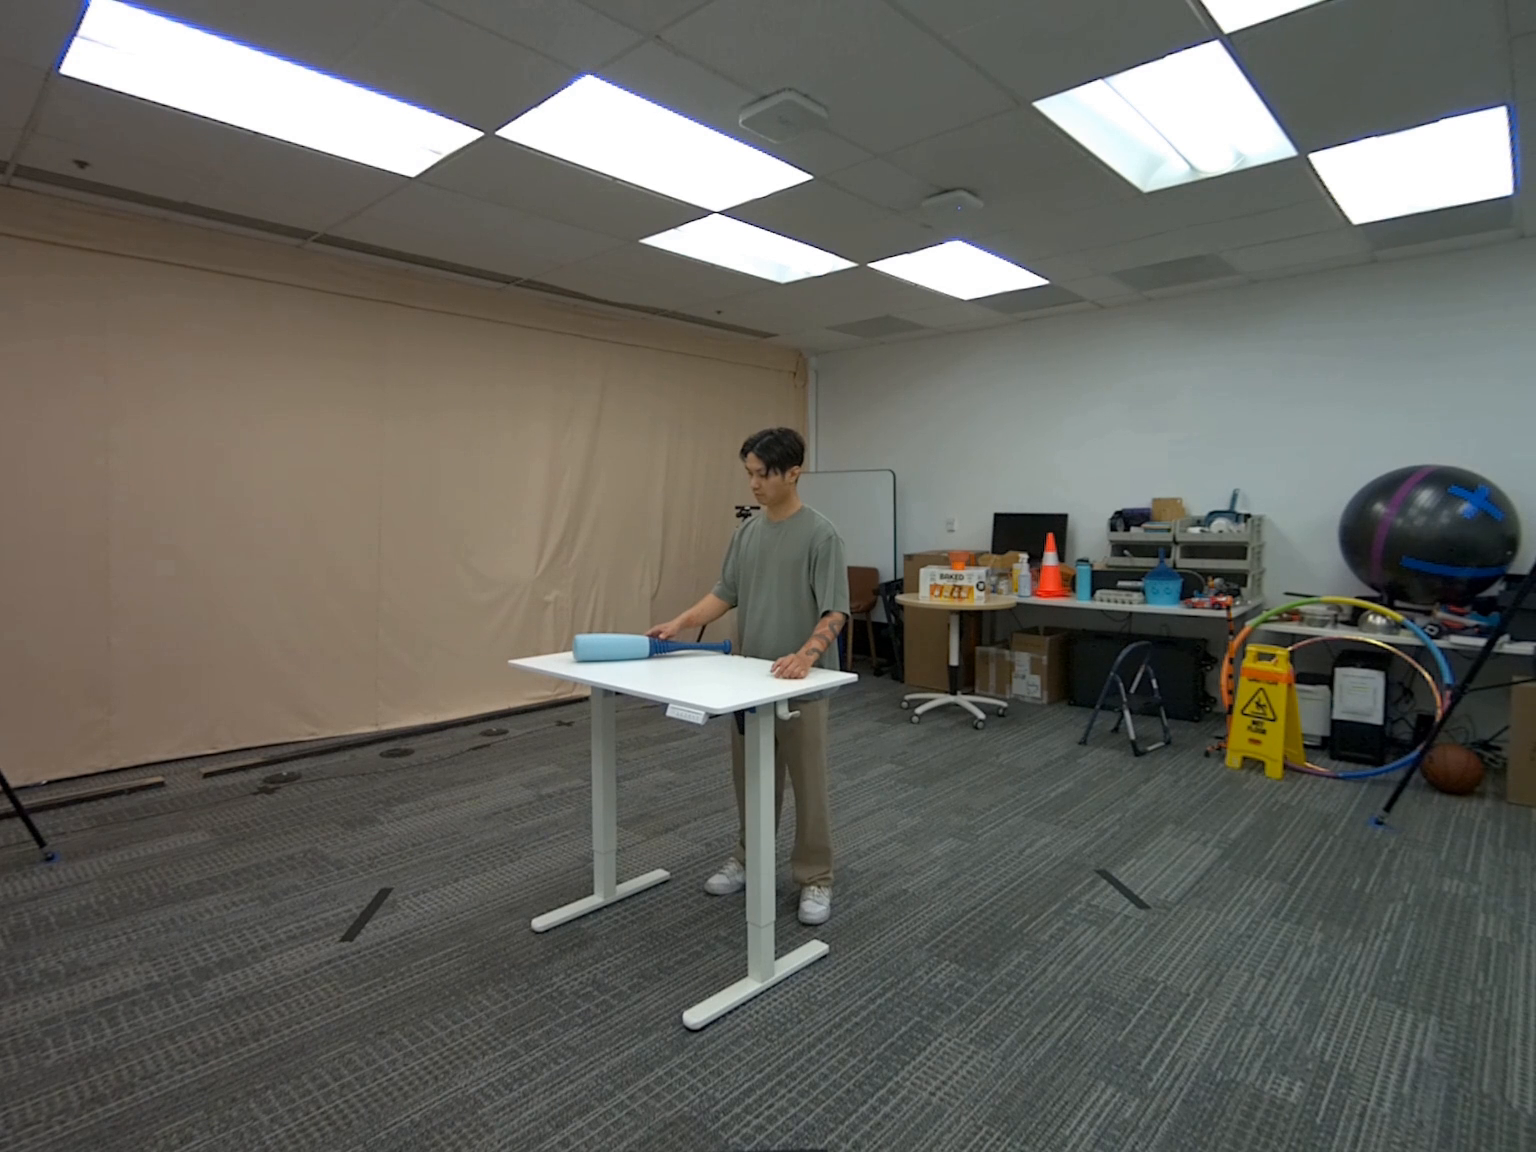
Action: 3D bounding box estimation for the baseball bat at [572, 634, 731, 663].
[{"bbox_3d":[-0.385,0.247,2.833,0.535,0.089,0.090,2,3,-14],"label":"baseball bat"}]
